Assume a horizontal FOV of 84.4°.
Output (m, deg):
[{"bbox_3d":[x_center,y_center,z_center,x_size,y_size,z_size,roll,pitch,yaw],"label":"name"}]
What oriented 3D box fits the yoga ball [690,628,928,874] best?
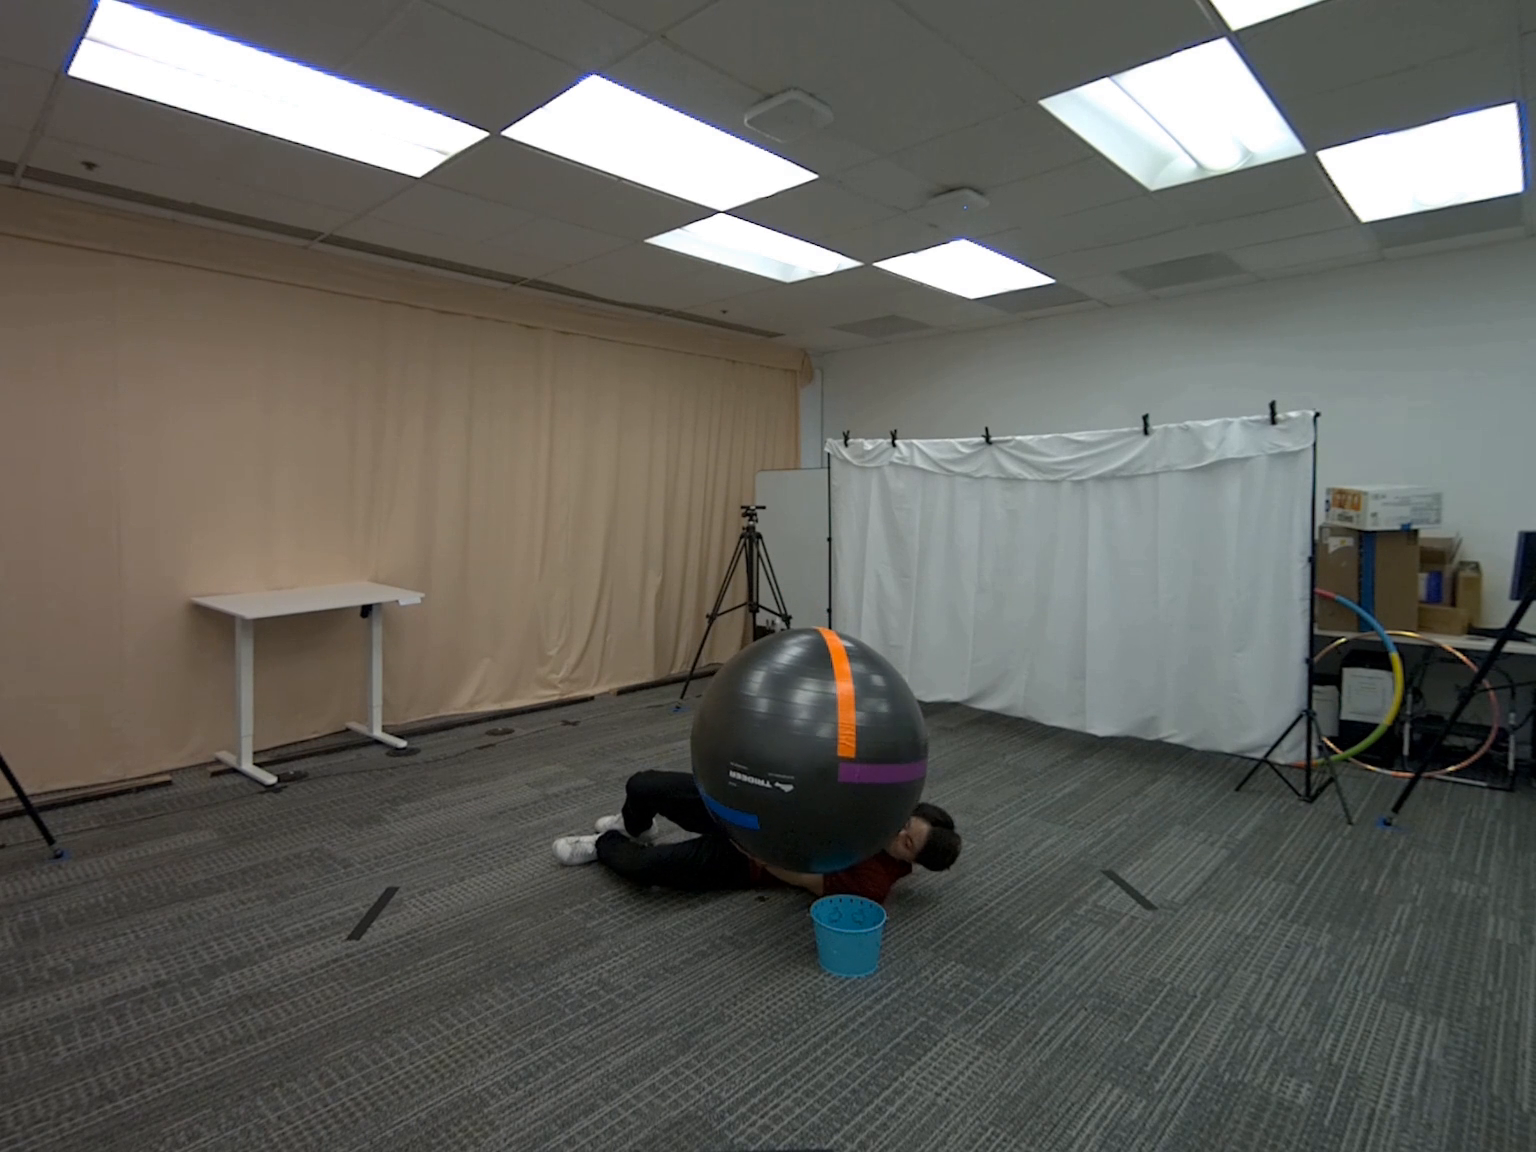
[{"bbox_3d":[0.133,0.557,2.713,0.757,0.756,0.760,0,4,-2],"label":"yoga ball"}]
